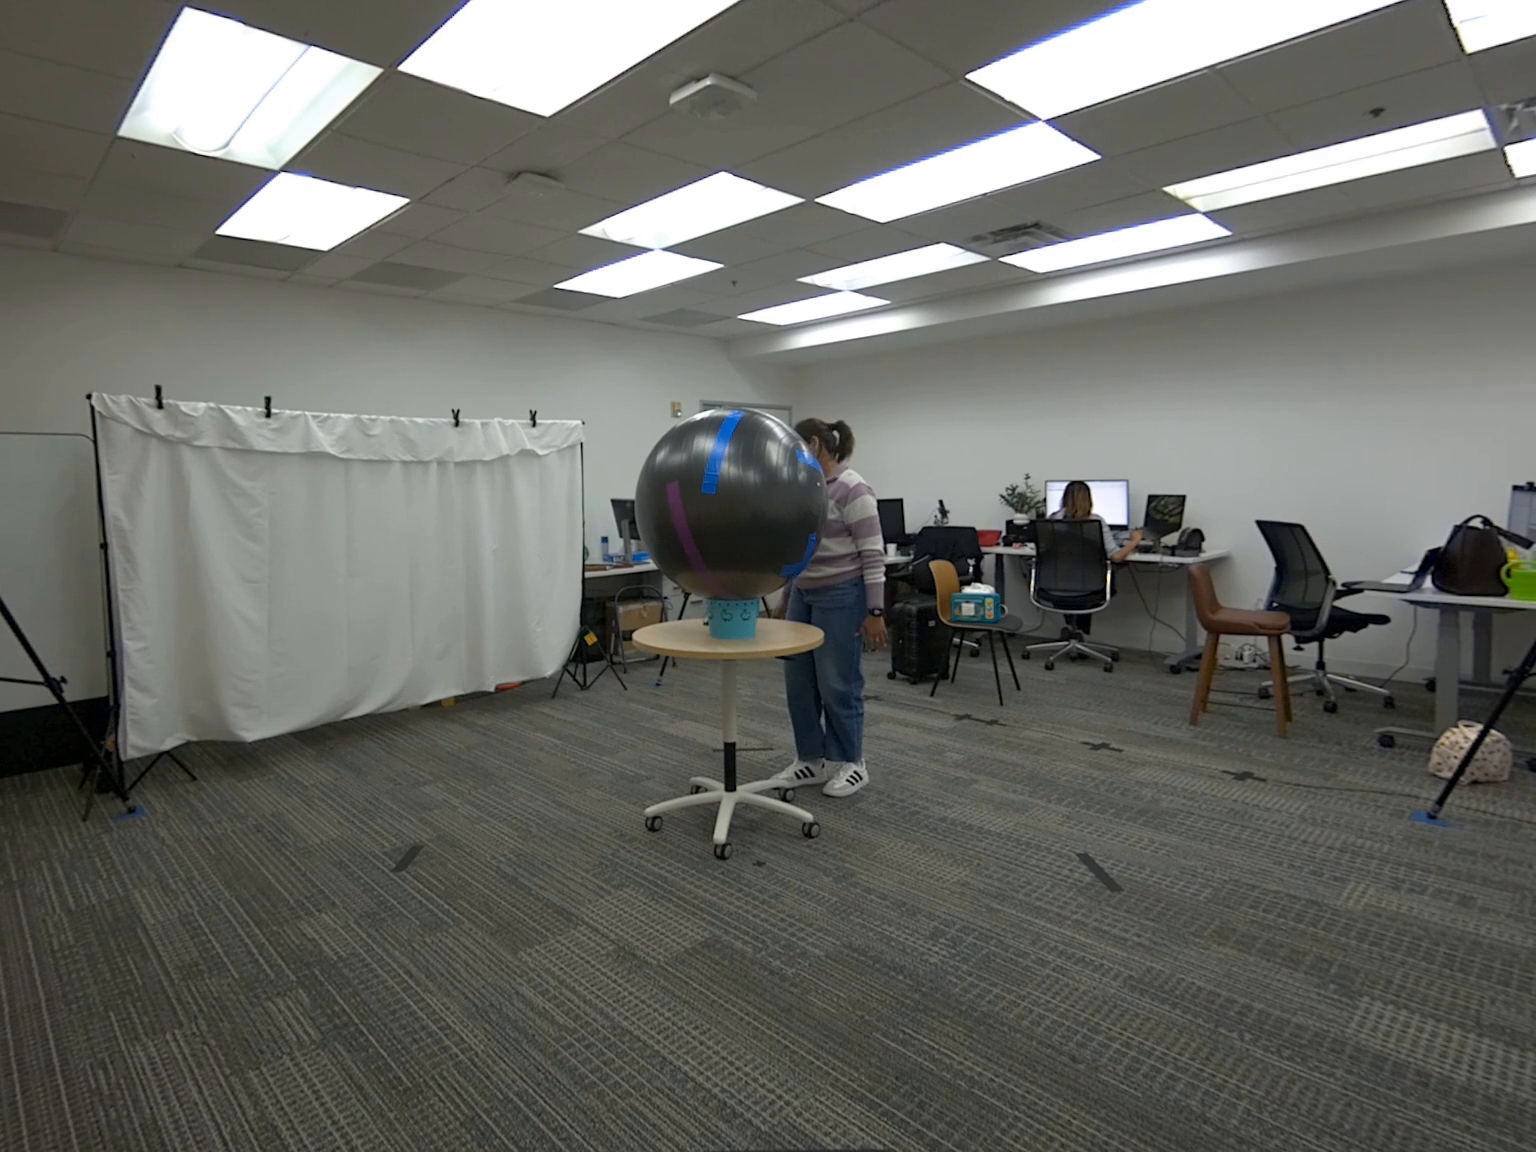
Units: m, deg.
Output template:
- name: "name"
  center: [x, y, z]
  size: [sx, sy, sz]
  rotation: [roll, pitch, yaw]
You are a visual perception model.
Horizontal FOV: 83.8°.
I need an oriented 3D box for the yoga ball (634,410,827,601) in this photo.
- name: "yoga ball"
  center: [-0.155, -0.276, 3.358]
  size: [0.757, 0.755, 0.762]
  rotation: [-1, 5, -2]
